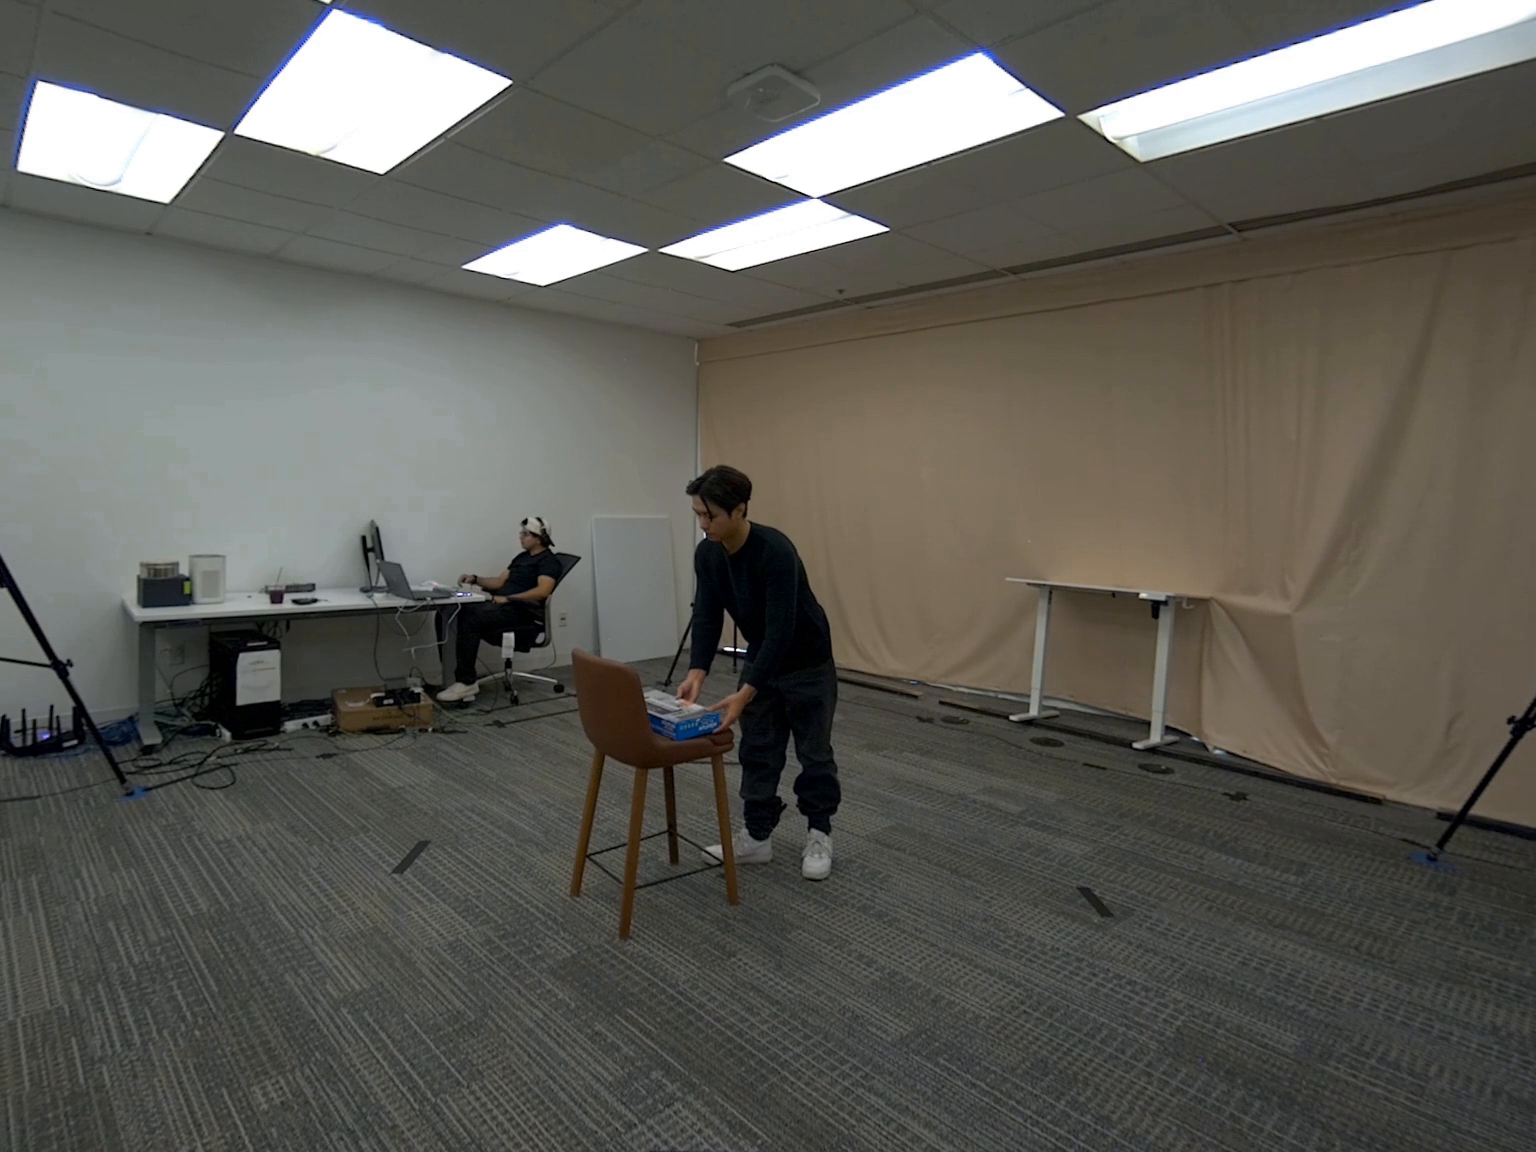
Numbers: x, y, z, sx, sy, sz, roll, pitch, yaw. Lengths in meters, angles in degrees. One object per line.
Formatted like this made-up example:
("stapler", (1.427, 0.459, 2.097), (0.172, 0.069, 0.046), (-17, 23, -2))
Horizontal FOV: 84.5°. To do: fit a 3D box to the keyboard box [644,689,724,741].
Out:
("keyboard box", (-0.371, 0.464, 2.900), (0.172, 0.059, 0.448), (-8, 9, -38))
